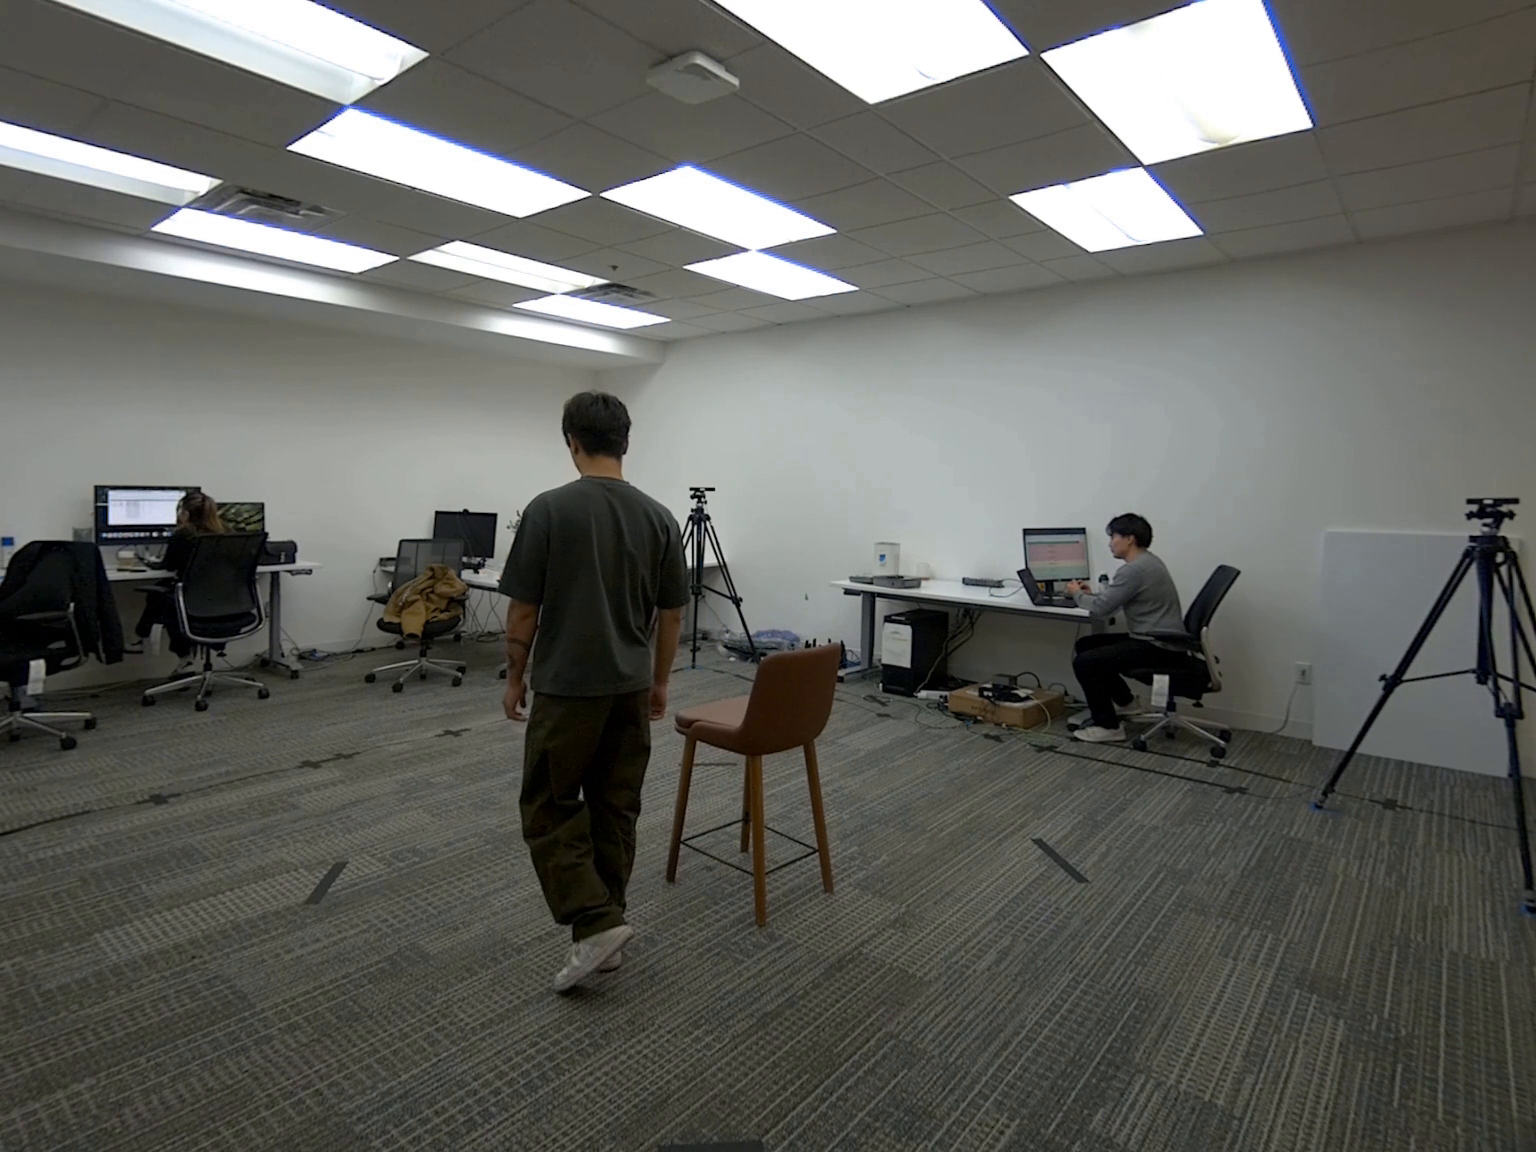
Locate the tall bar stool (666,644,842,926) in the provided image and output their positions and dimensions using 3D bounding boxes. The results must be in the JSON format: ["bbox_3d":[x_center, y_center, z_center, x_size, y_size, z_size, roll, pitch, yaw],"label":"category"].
[{"bbox_3d":[-0.051,0.649,2.960,0.484,0.886,0.442,7,6,44],"label":"tall bar stool"}]
